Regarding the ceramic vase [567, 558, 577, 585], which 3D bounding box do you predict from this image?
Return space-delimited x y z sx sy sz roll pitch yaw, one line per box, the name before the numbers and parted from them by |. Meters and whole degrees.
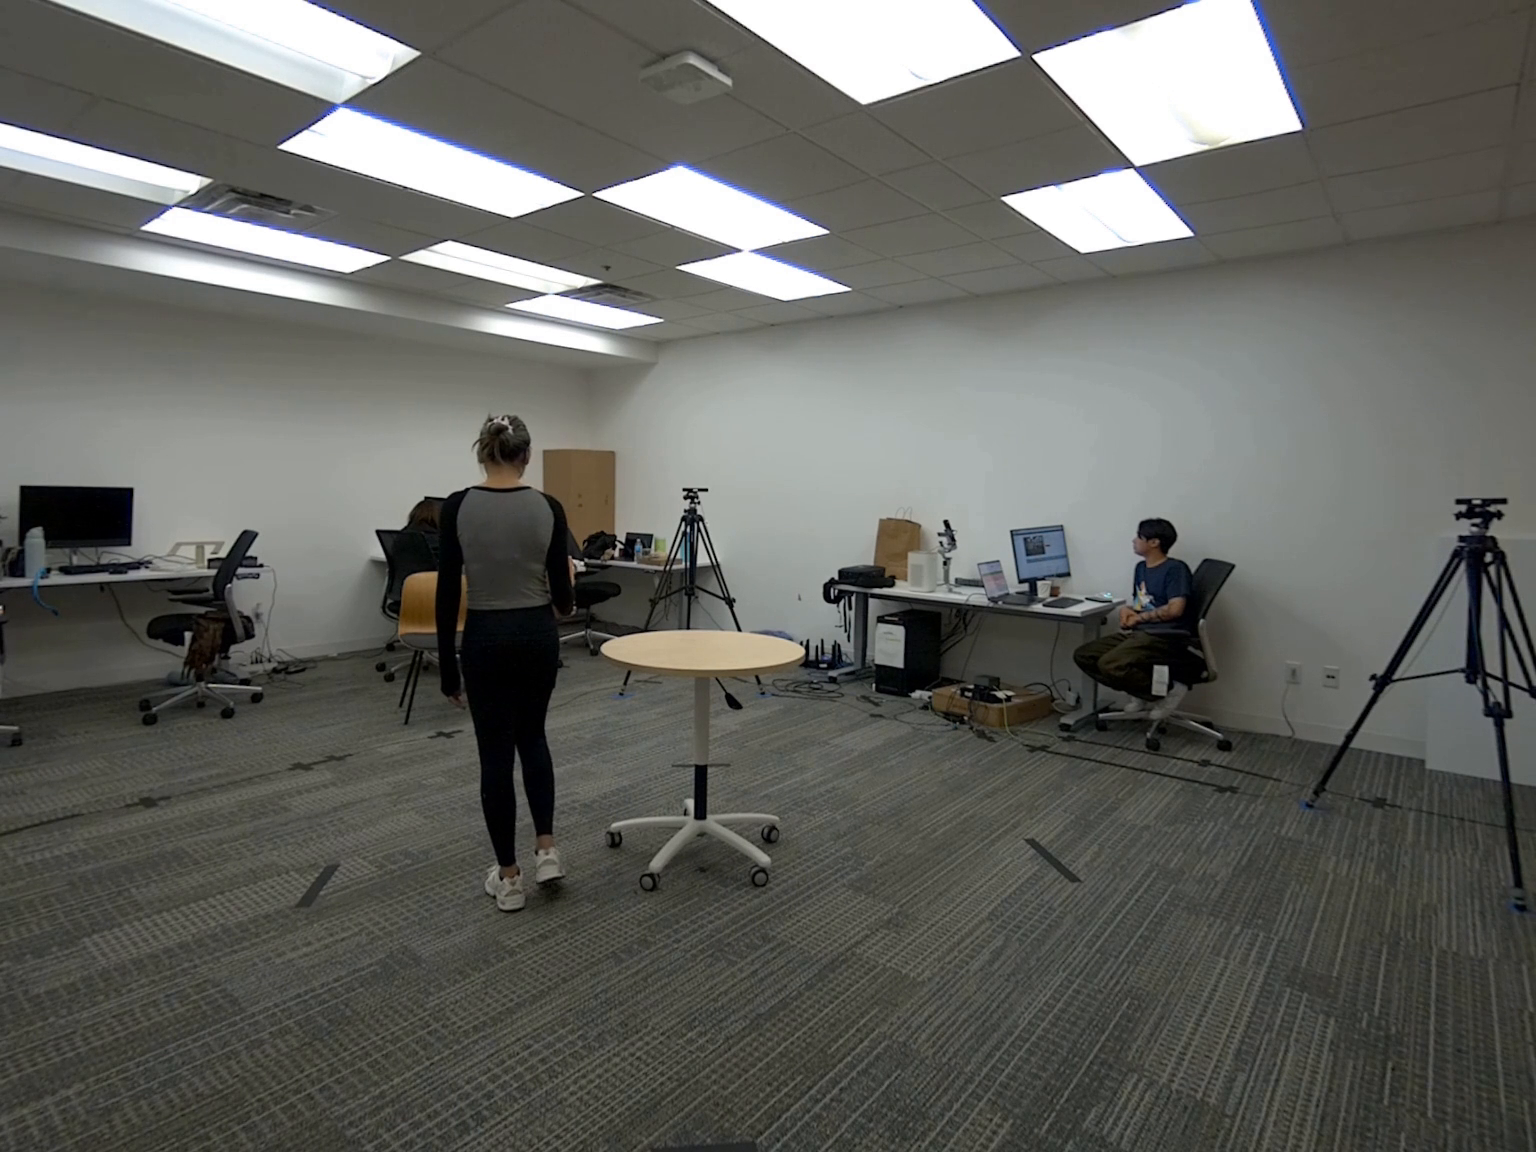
ceramic vase | -0.793 0.041 3.181 0.158 0.219 0.136 -7 4 -7
